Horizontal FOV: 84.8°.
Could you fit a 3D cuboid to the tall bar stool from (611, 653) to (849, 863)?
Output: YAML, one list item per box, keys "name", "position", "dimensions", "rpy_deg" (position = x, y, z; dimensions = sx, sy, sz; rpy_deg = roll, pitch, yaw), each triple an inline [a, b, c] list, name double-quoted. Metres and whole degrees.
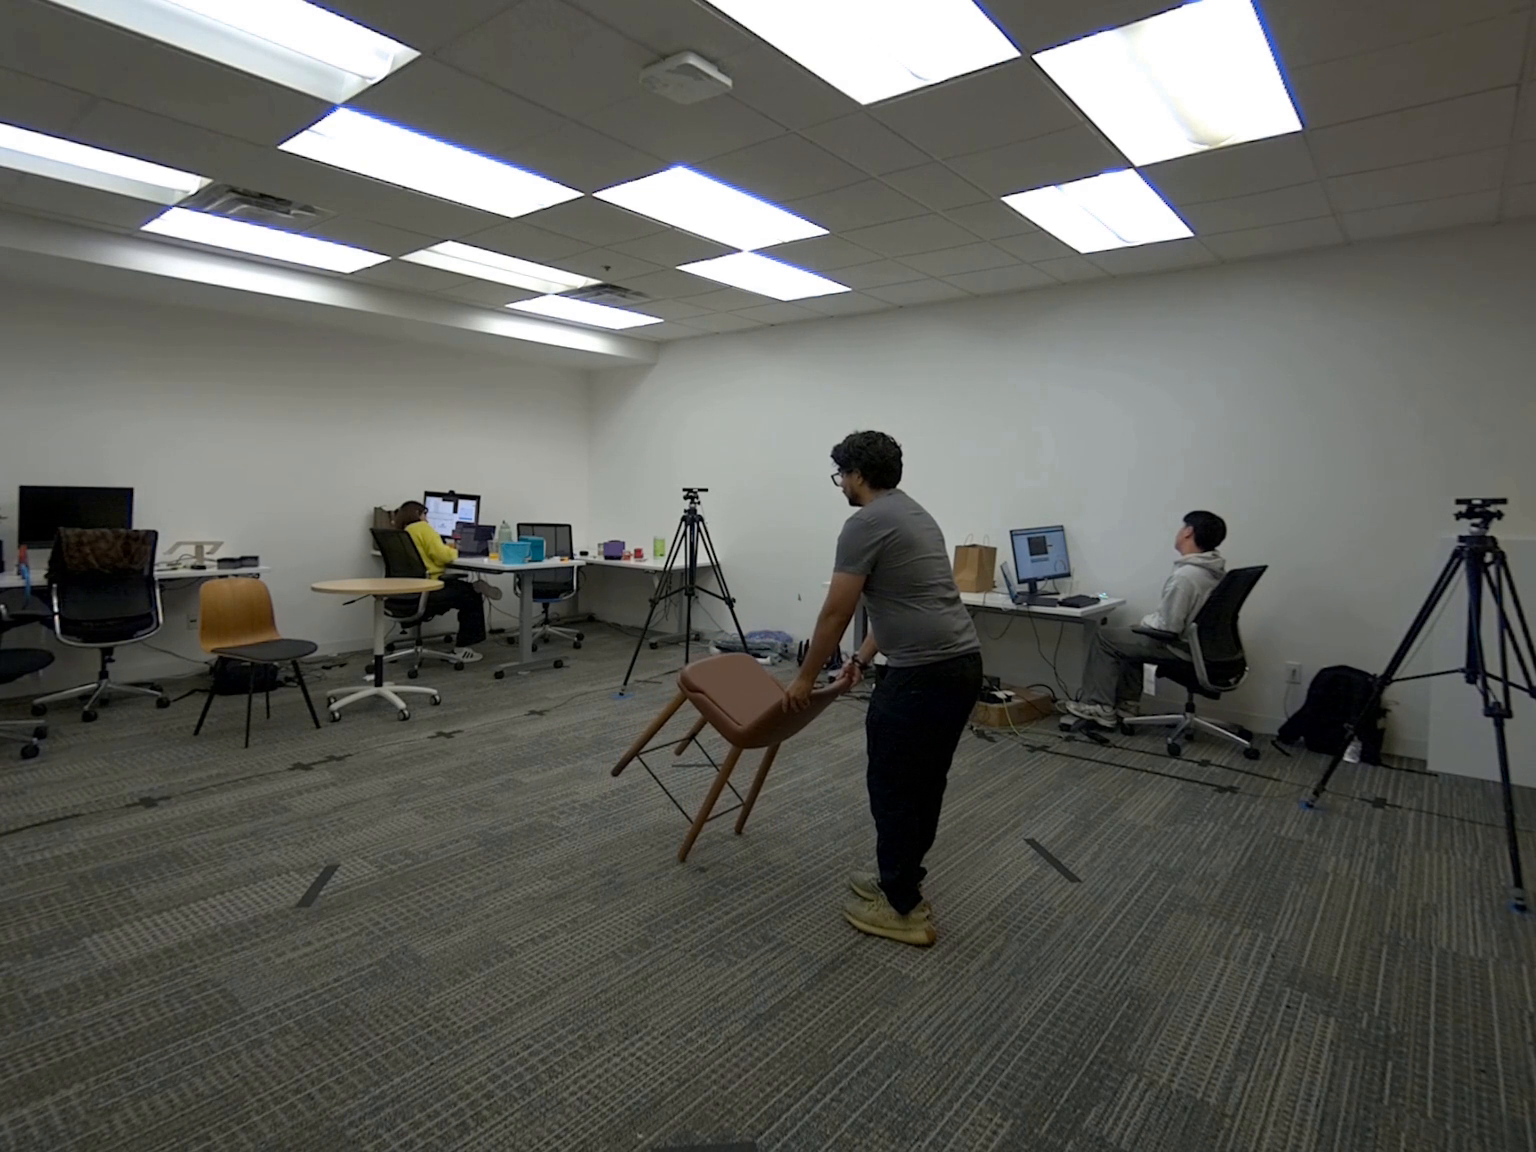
- name: "tall bar stool"
  position: [-0.155, 0.581, 3.242]
  dimensions: [0.484, 0.885, 0.443]
  rpy_deg: [47, 27, 27]
